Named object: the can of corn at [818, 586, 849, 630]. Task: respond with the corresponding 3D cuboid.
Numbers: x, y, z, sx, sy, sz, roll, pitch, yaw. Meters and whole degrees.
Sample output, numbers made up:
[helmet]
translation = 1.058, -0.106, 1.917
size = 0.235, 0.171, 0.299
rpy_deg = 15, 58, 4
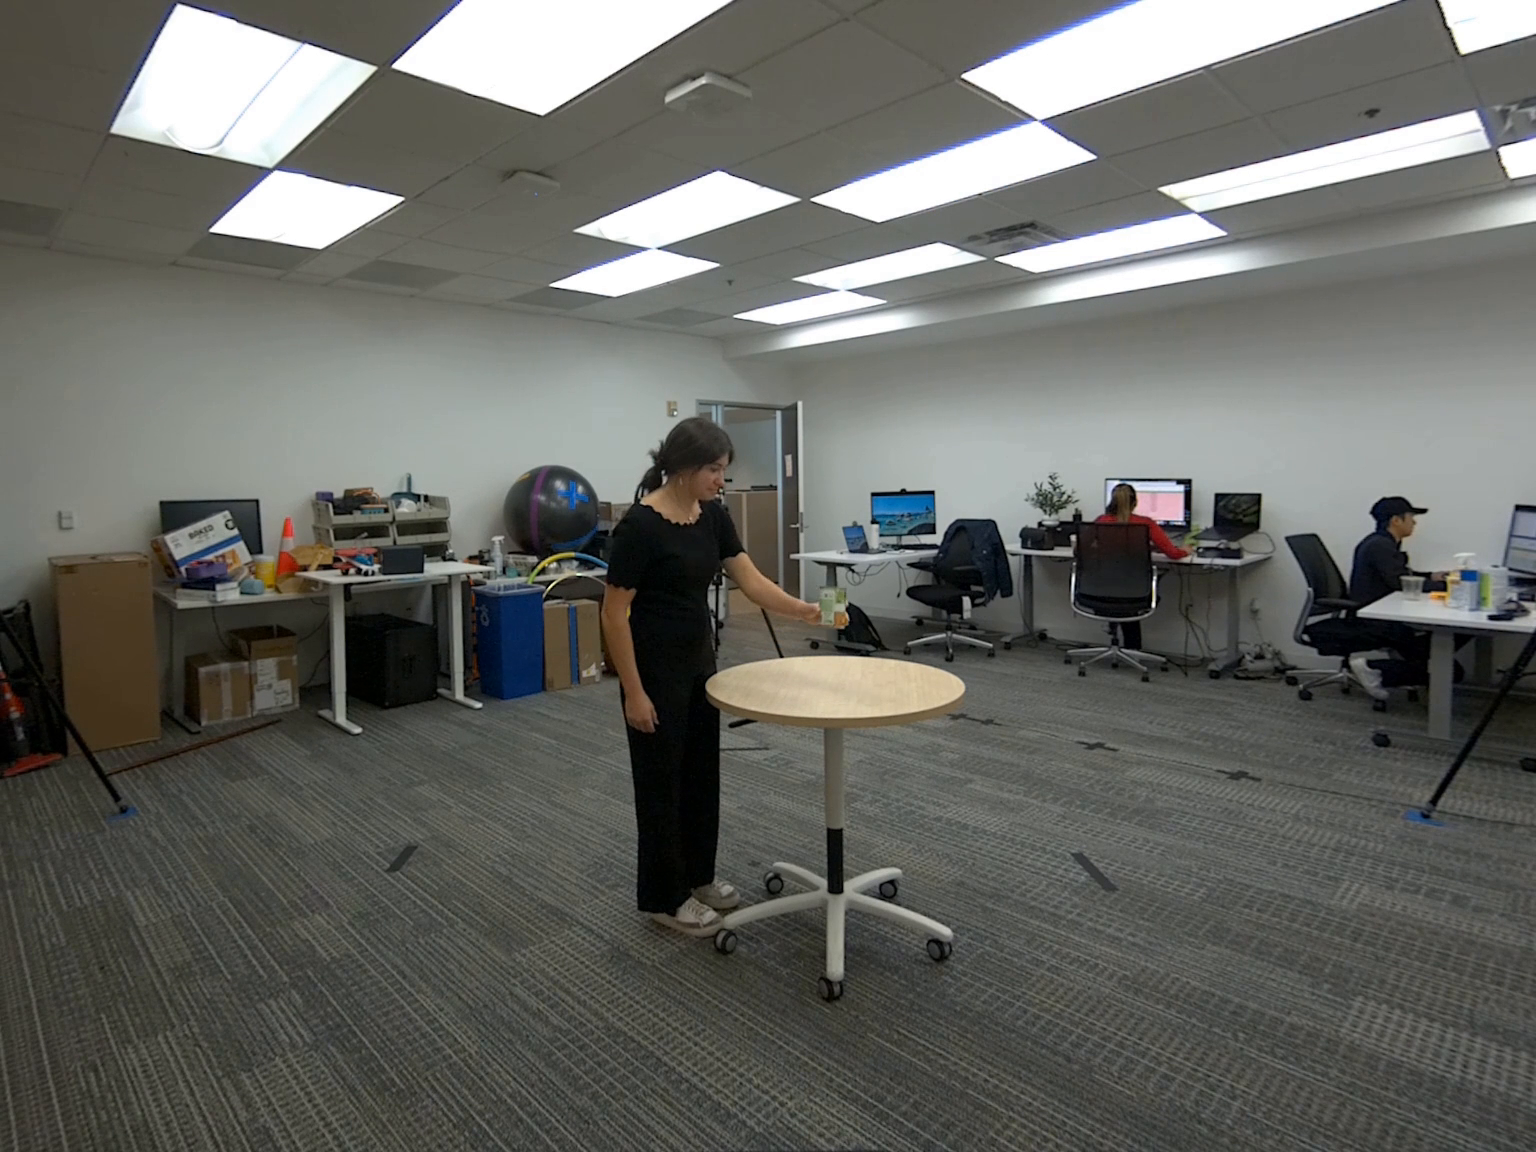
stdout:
[can of corn]
translation = 0.175, 0.088, 2.373
size = 0.074, 0.111, 0.074
rpy_deg = 2, -1, -2
